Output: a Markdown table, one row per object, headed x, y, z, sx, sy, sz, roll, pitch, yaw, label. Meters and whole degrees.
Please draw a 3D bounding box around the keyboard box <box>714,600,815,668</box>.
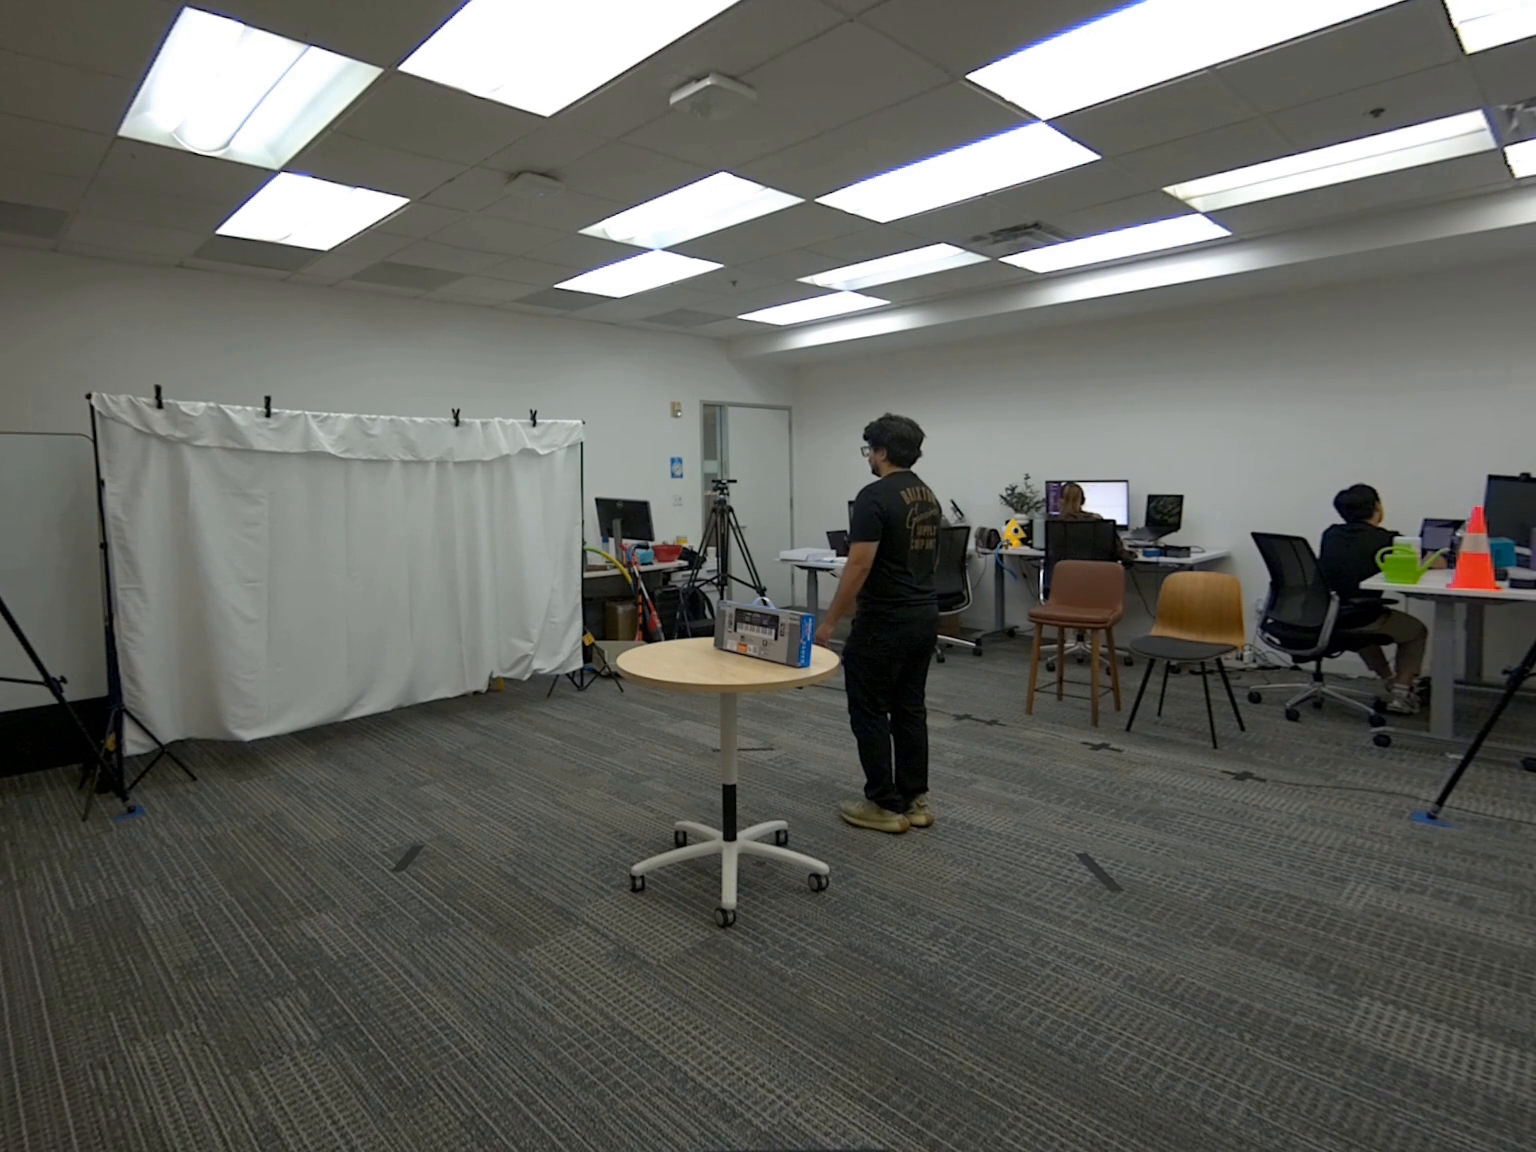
| x | y | z | sx | sy | sz | roll | pitch | yaw | label |
| --- | --- | --- | --- | --- | --- | --- | --- | --- | --- |
| -0.021 | 0.196 | 2.950 | 0.057 | 0.176 | 0.450 | 3 | 2 | -42 | keyboard box |
